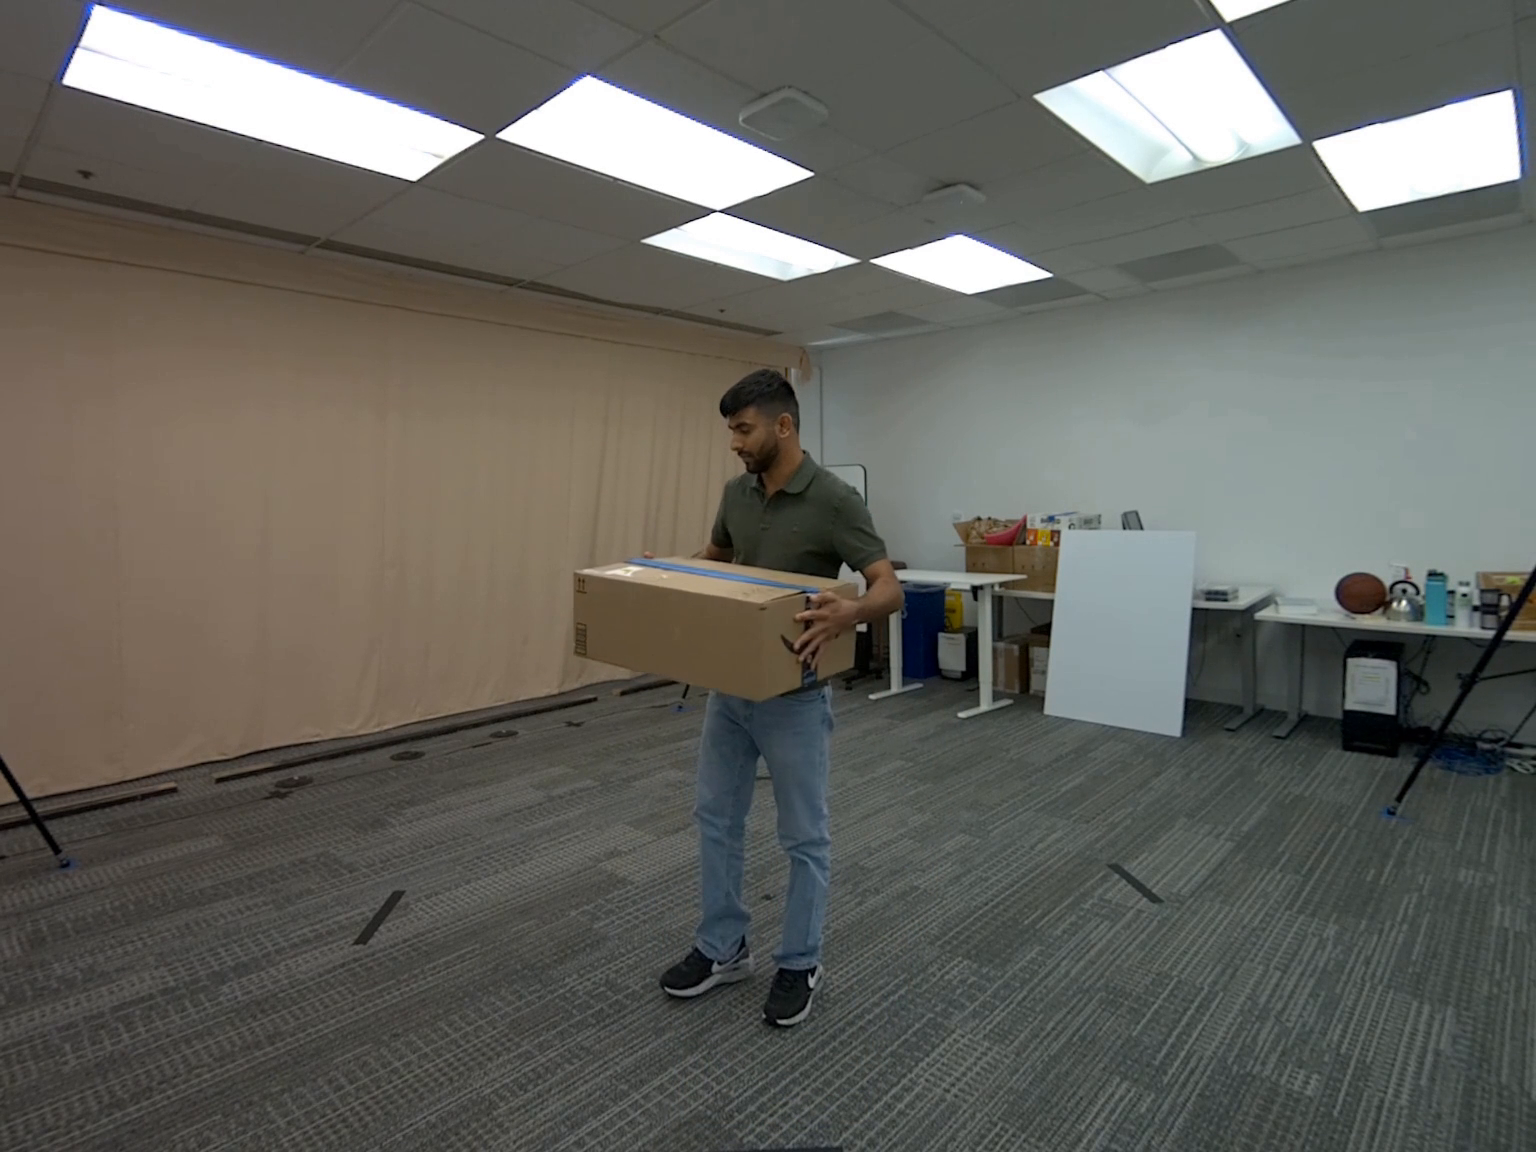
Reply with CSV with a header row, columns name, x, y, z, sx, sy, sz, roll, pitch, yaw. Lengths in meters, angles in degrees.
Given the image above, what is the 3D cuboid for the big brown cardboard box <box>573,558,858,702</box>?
name,x,y,z,sx,sy,sz,roll,pitch,yaw
big brown cardboard box,-0.140,0.102,2.085,0.608,0.232,0.406,9,10,35
